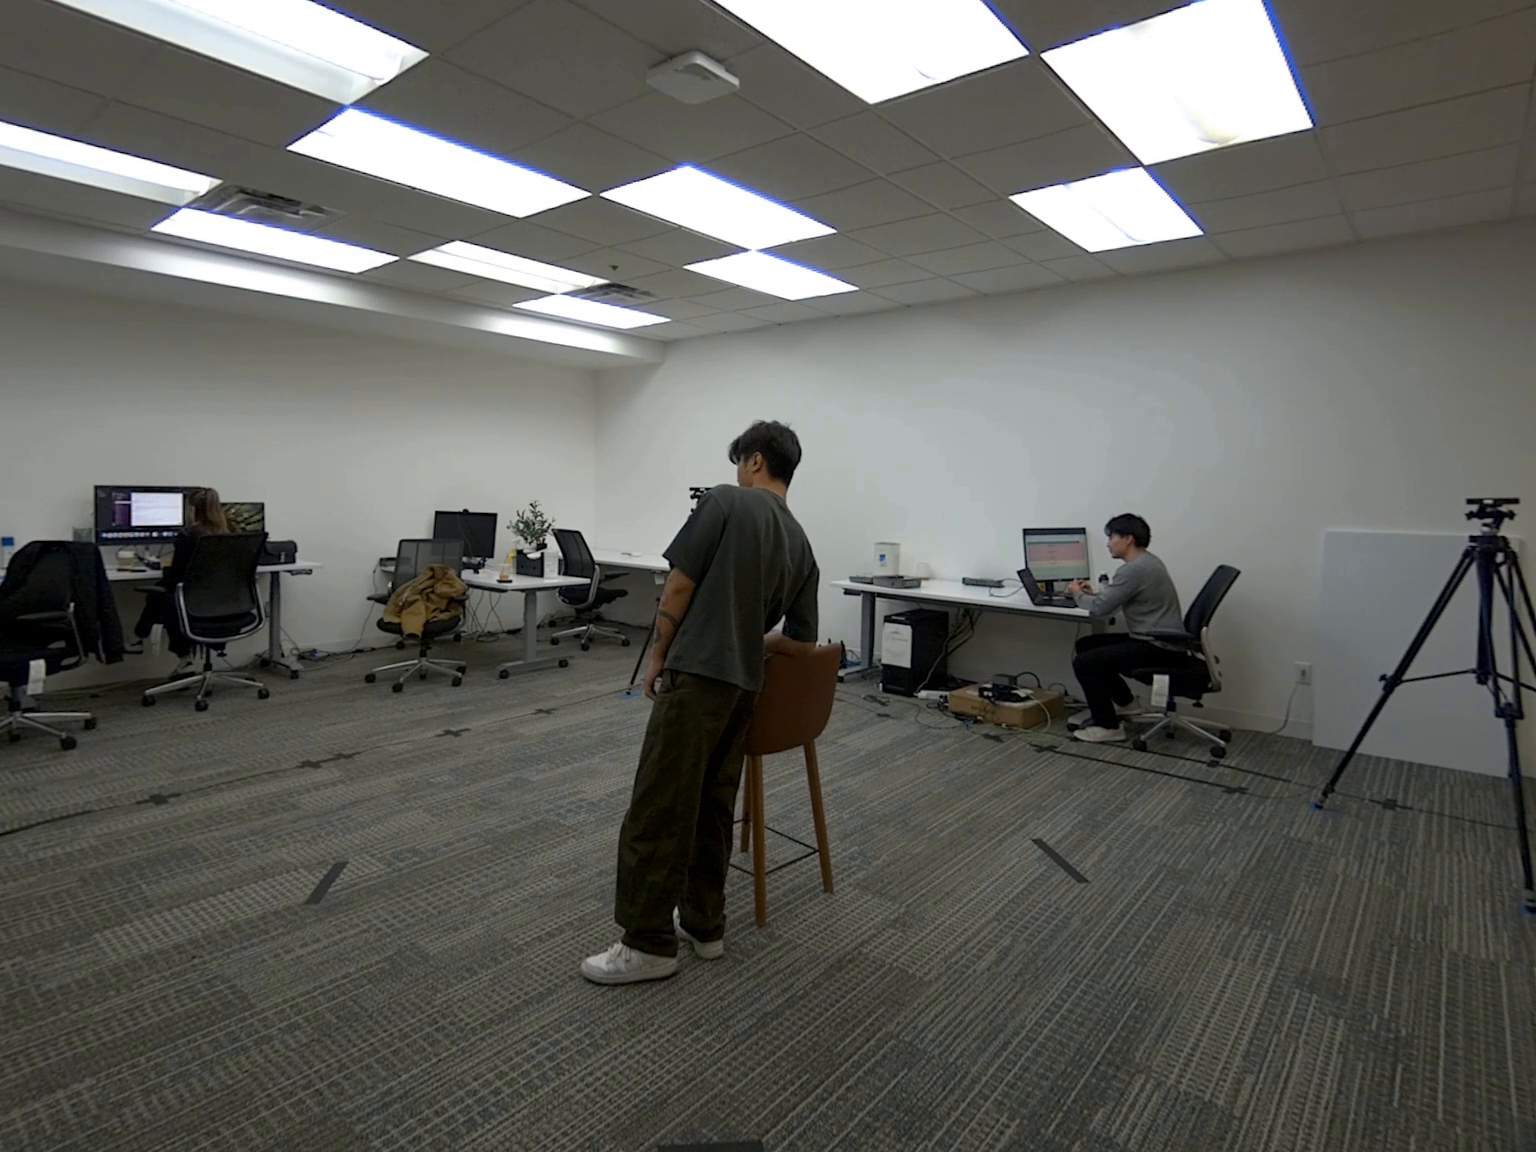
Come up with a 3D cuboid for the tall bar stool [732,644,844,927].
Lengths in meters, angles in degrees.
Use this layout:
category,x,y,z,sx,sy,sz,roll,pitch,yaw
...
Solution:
category,x,y,z,sx,sy,sz,roll,pitch,yaw
tall bar stool,-0.048,0.647,2.960,0.484,0.886,0.442,8,6,44
